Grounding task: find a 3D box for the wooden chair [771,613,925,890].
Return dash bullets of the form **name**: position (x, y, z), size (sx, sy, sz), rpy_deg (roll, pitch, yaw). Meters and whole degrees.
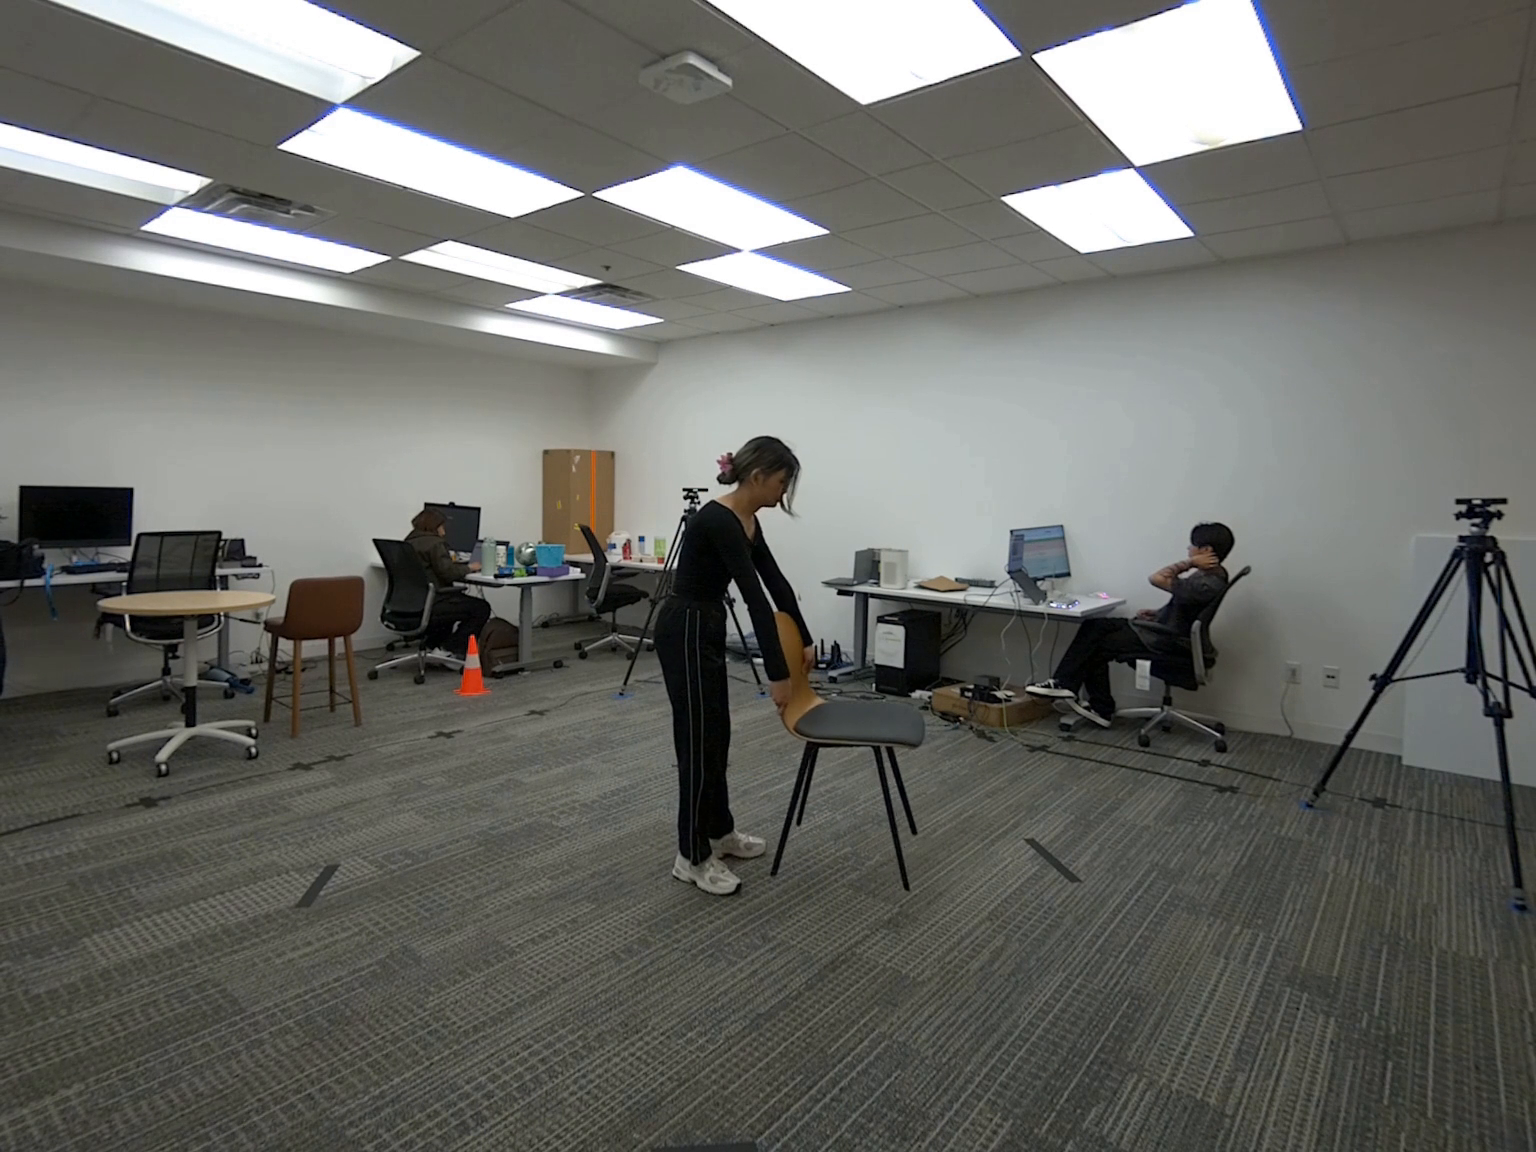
- **wooden chair**: position (0.270, 0.561, 2.968), size (0.531, 0.875, 0.472), rpy_deg (-5, 3, 16)
